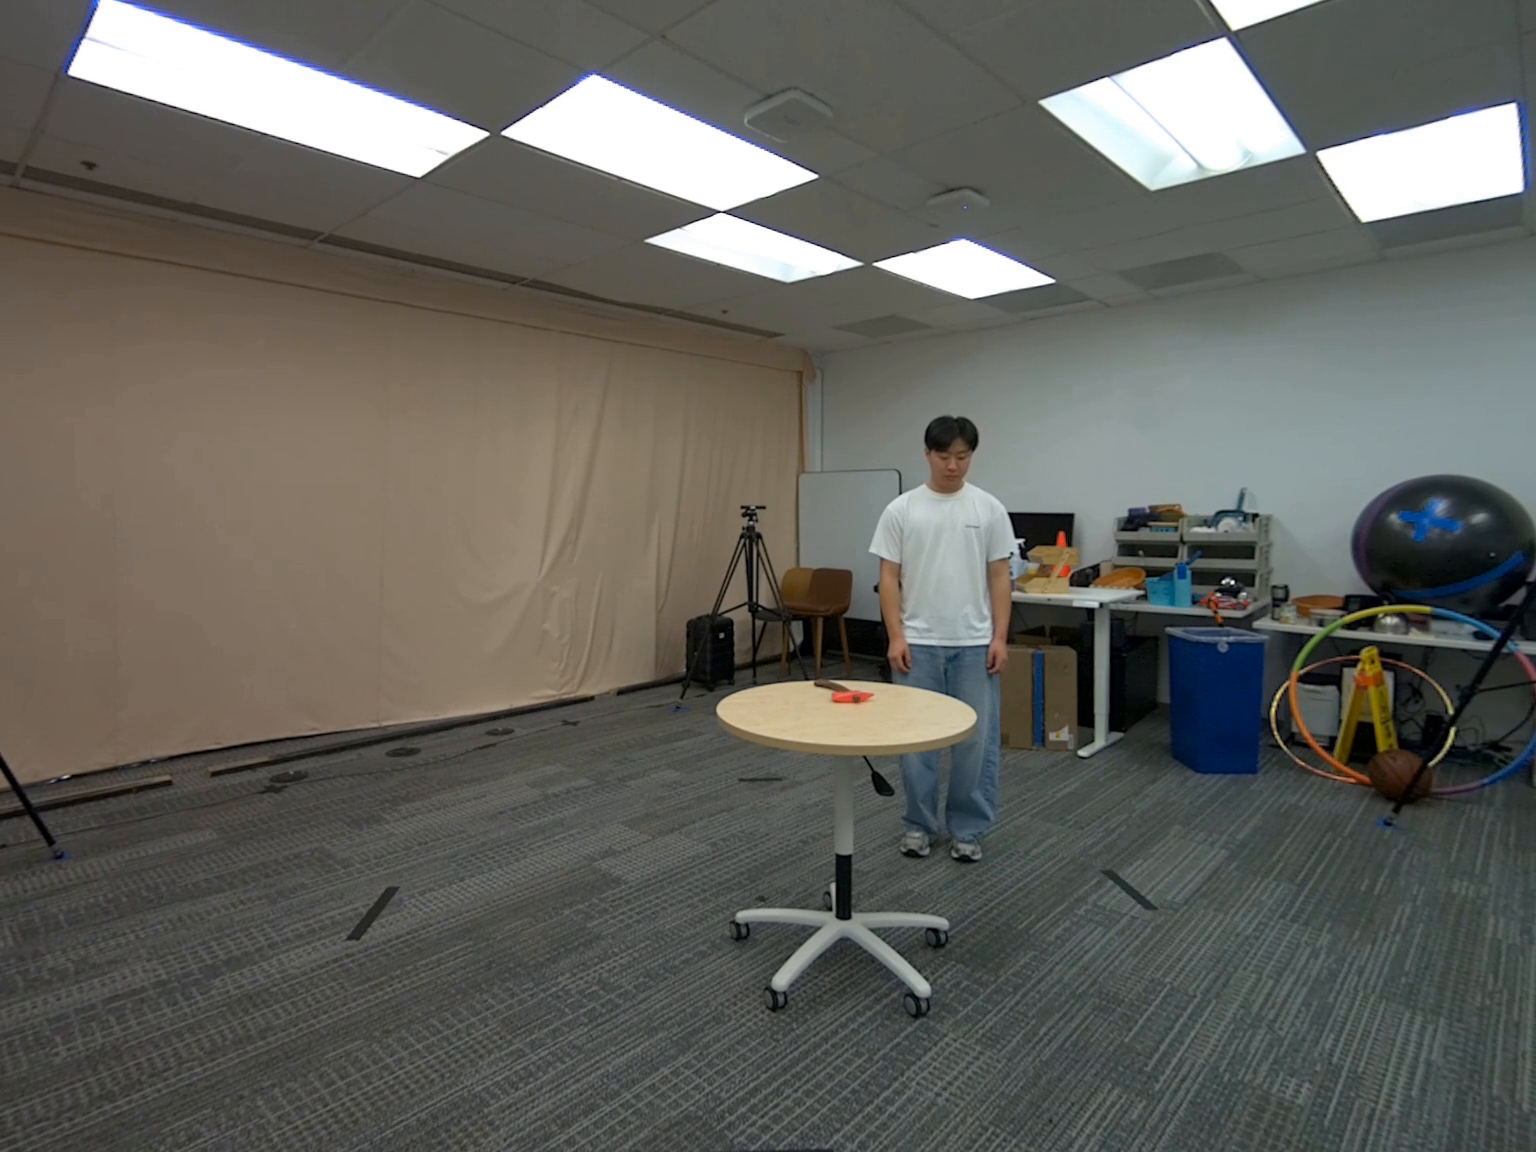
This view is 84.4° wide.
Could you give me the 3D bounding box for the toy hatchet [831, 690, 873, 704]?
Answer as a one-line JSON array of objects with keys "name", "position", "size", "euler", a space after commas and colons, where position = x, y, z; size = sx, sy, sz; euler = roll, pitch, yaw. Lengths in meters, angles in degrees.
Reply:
[{"name": "toy hatchet", "position": [0.216, 0.374, 2.696], "size": [0.128, 0.029, 0.278], "euler": [-9, 7, -31]}]
